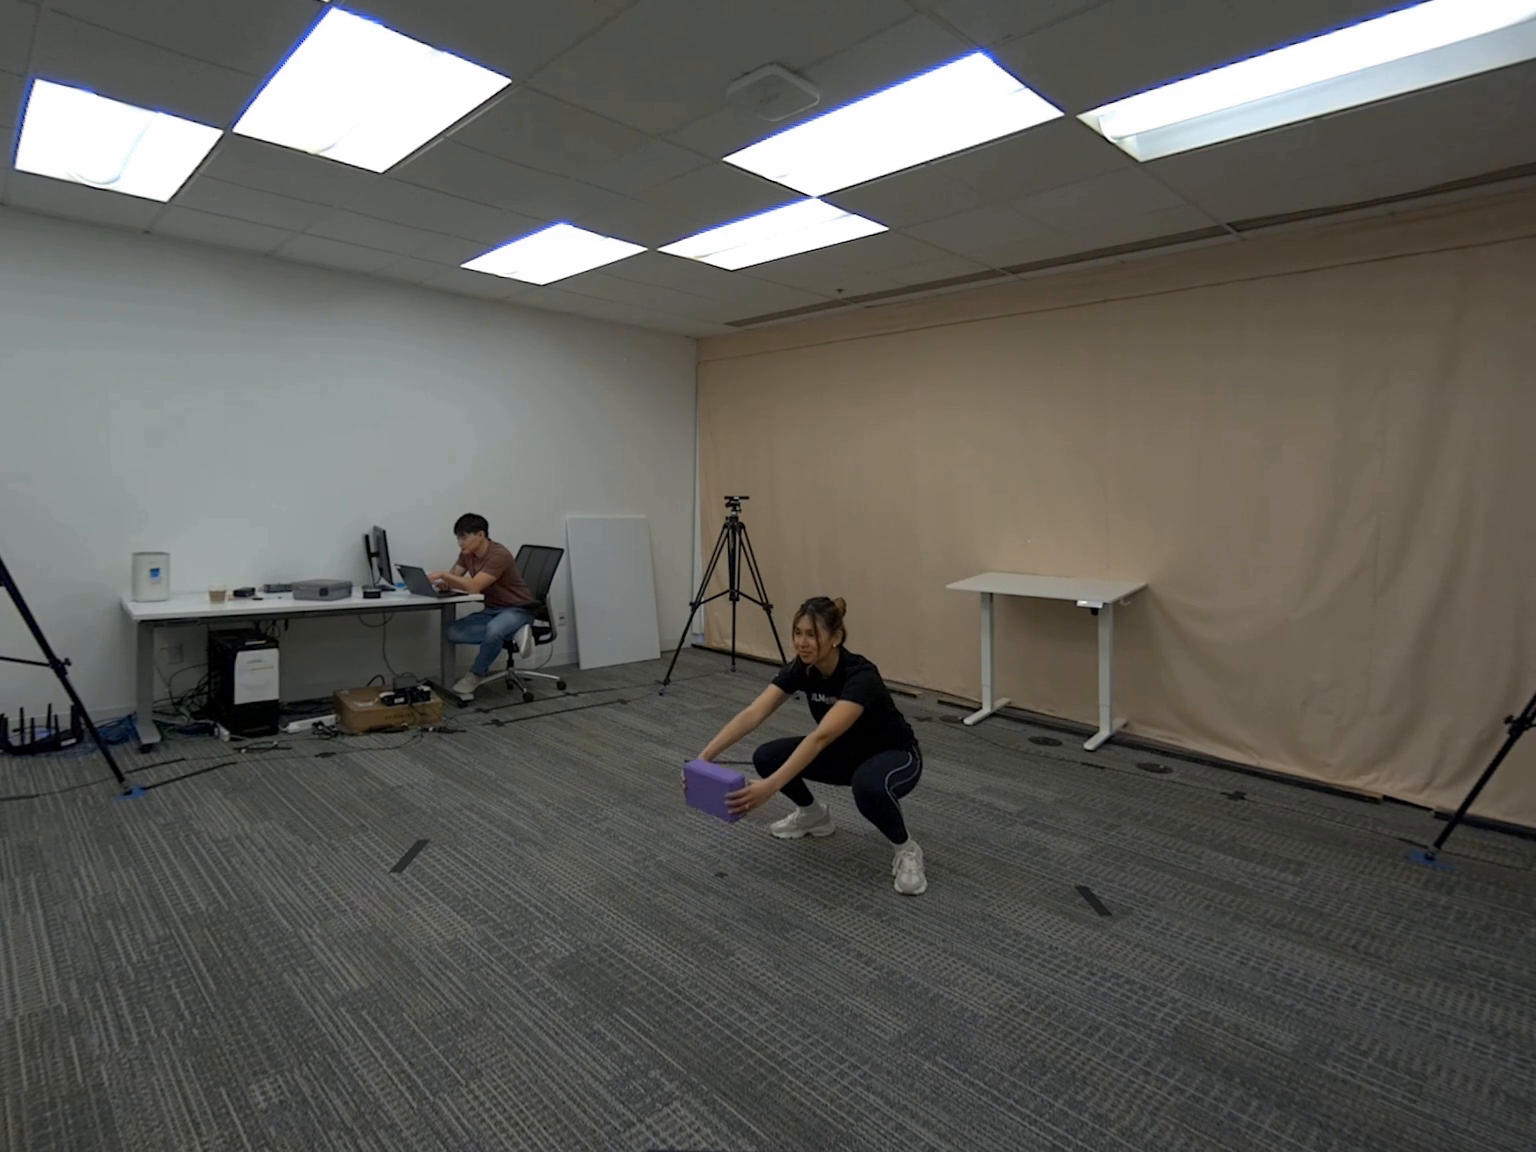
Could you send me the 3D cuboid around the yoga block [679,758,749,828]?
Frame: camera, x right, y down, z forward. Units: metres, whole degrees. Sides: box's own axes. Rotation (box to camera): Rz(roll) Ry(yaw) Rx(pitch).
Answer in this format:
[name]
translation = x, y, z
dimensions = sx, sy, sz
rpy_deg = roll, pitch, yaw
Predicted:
[yoga block]
translation = -0.181, 0.711, 2.792
dimensions = 0.235, 0.148, 0.075
rpy_deg = 6, 12, 41
